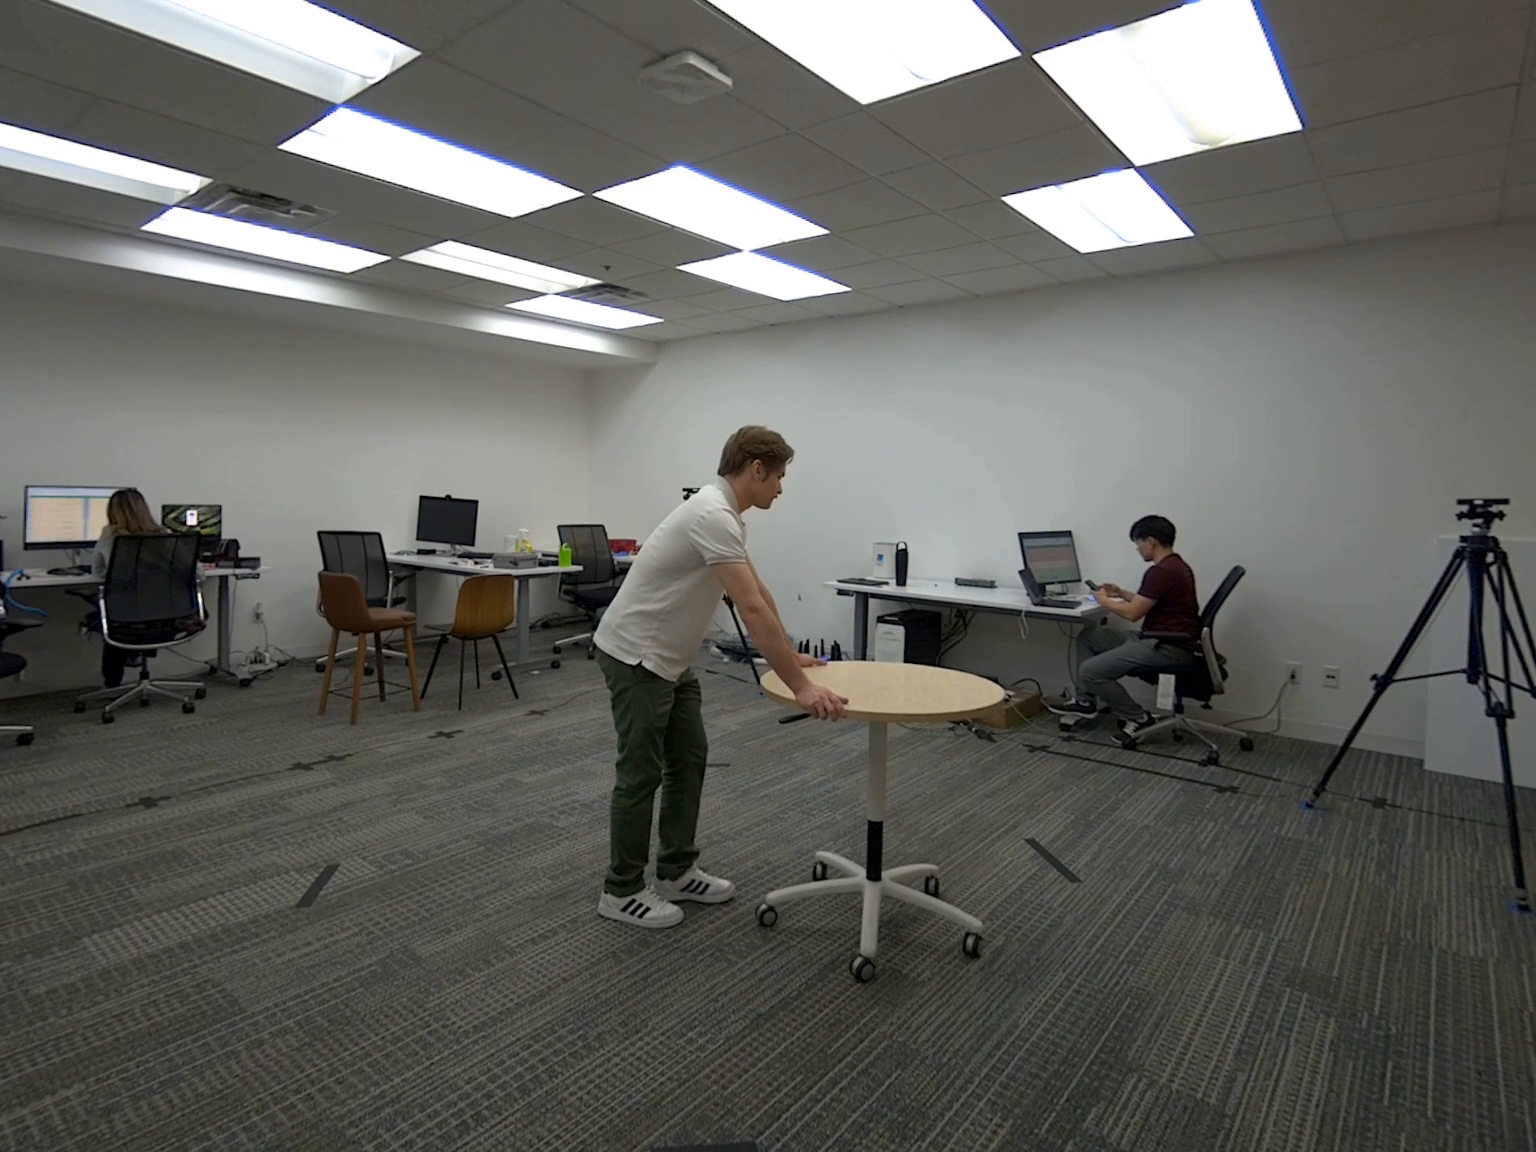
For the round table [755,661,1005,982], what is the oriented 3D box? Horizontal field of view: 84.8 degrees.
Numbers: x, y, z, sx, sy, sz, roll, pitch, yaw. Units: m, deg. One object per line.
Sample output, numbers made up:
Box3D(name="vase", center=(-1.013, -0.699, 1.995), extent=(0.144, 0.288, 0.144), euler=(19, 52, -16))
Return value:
Box3D(name="round table", center=(0.343, 0.736, 2.739), extent=(0.763, 0.792, 0.767), euler=(1, 4, -2))
